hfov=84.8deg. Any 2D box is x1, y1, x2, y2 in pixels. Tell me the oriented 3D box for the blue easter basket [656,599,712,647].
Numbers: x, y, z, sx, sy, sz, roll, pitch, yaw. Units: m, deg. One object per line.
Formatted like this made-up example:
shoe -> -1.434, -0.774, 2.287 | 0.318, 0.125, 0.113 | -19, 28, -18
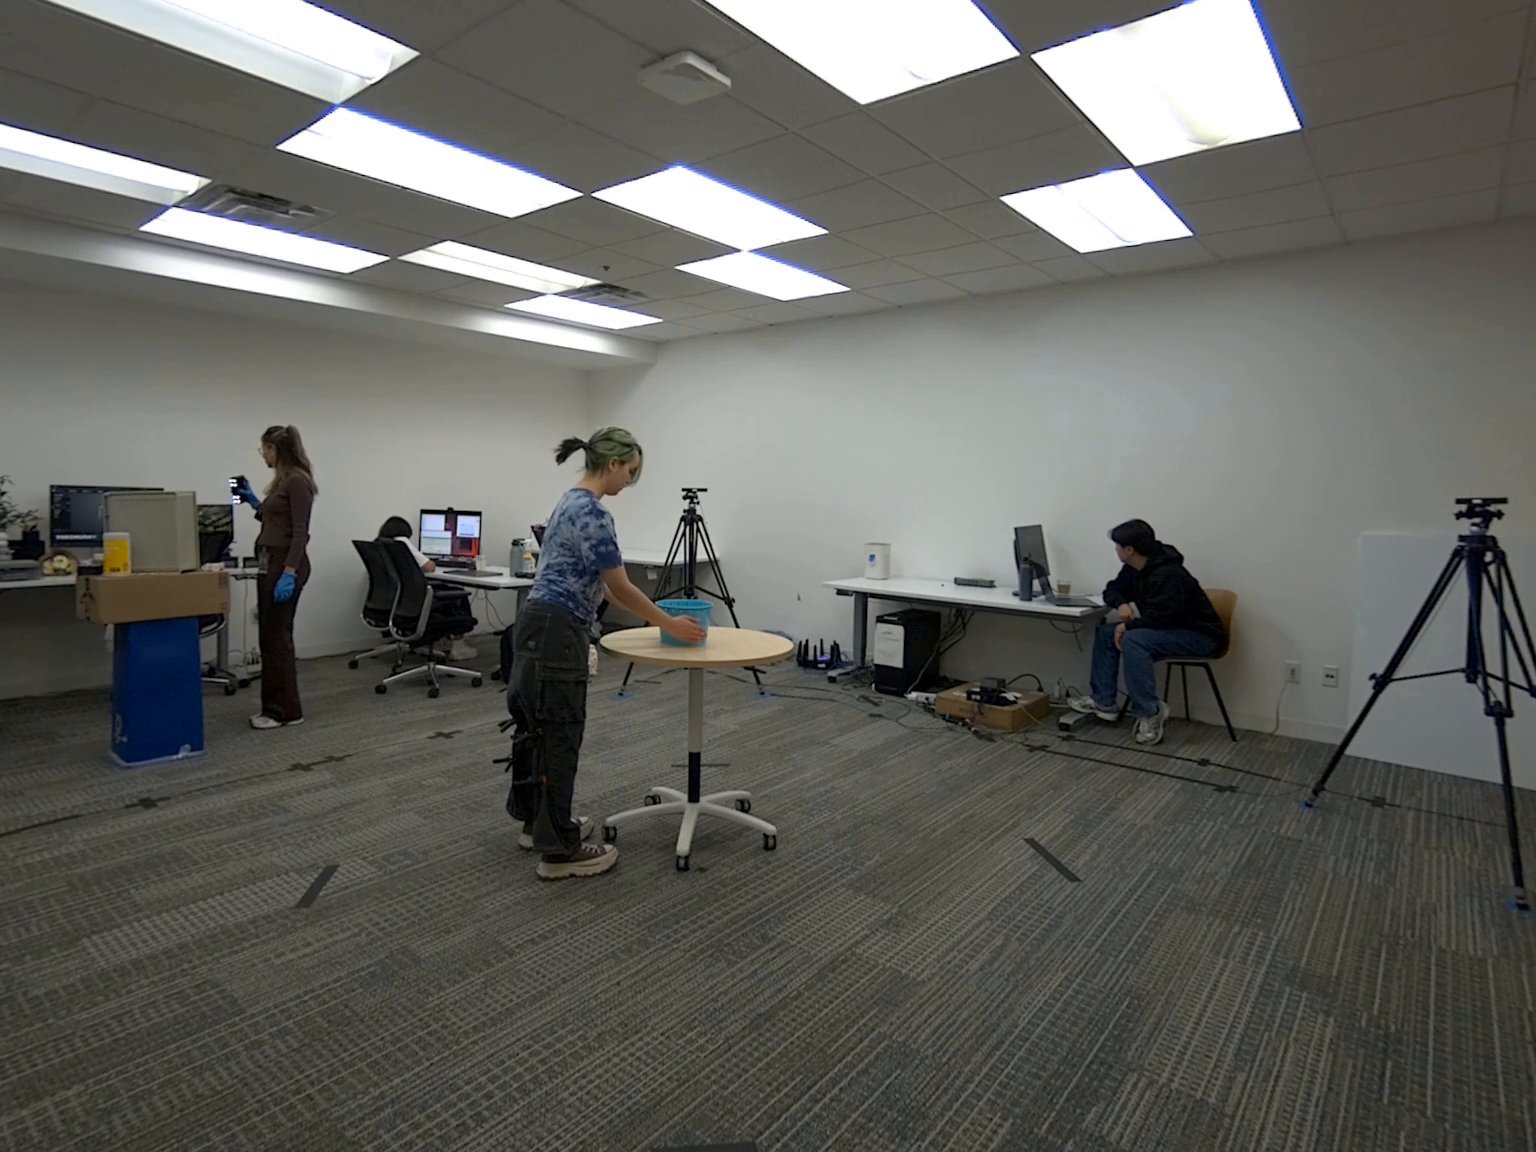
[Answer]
blue easter basket -> -0.346, 0.188, 3.358 | 0.243, 0.155, 0.245 | 1, 7, -2
